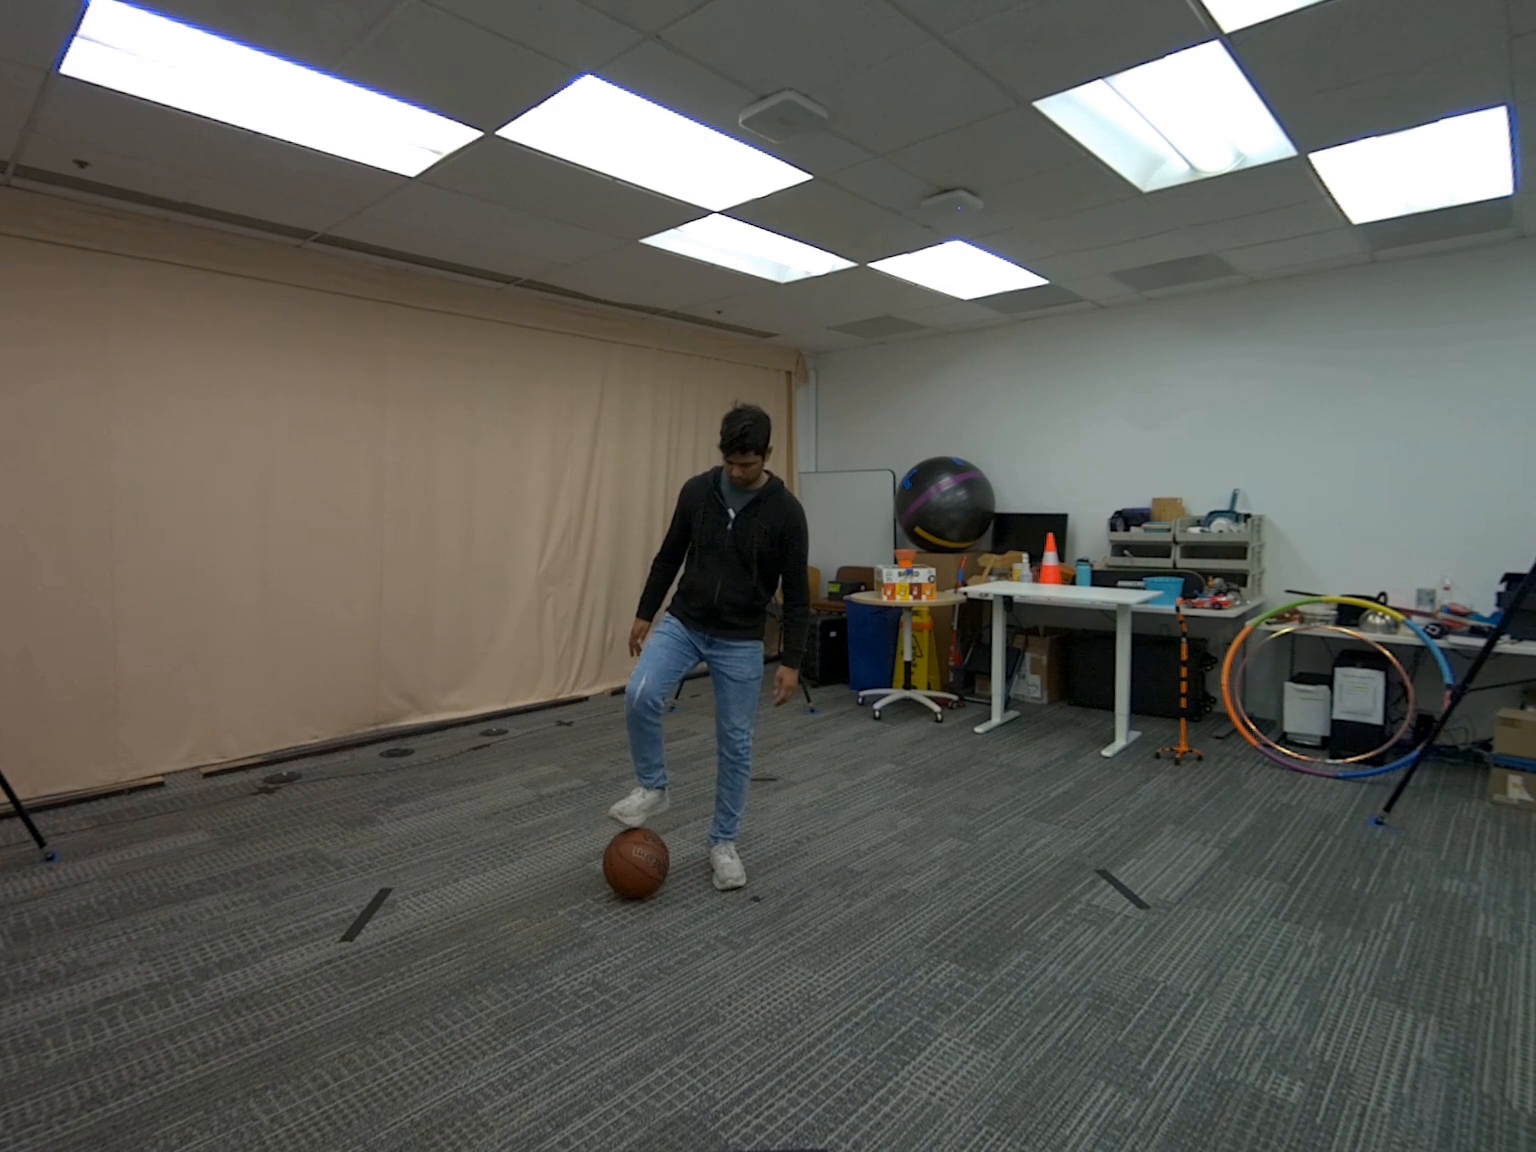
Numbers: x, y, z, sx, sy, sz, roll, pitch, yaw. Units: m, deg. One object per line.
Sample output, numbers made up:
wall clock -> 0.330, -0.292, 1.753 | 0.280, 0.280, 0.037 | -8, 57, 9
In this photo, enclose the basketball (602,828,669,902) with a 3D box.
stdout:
basketball -> -0.466, 1.026, 3.006 | 0.236, 0.235, 0.237 | 0, 4, -2
